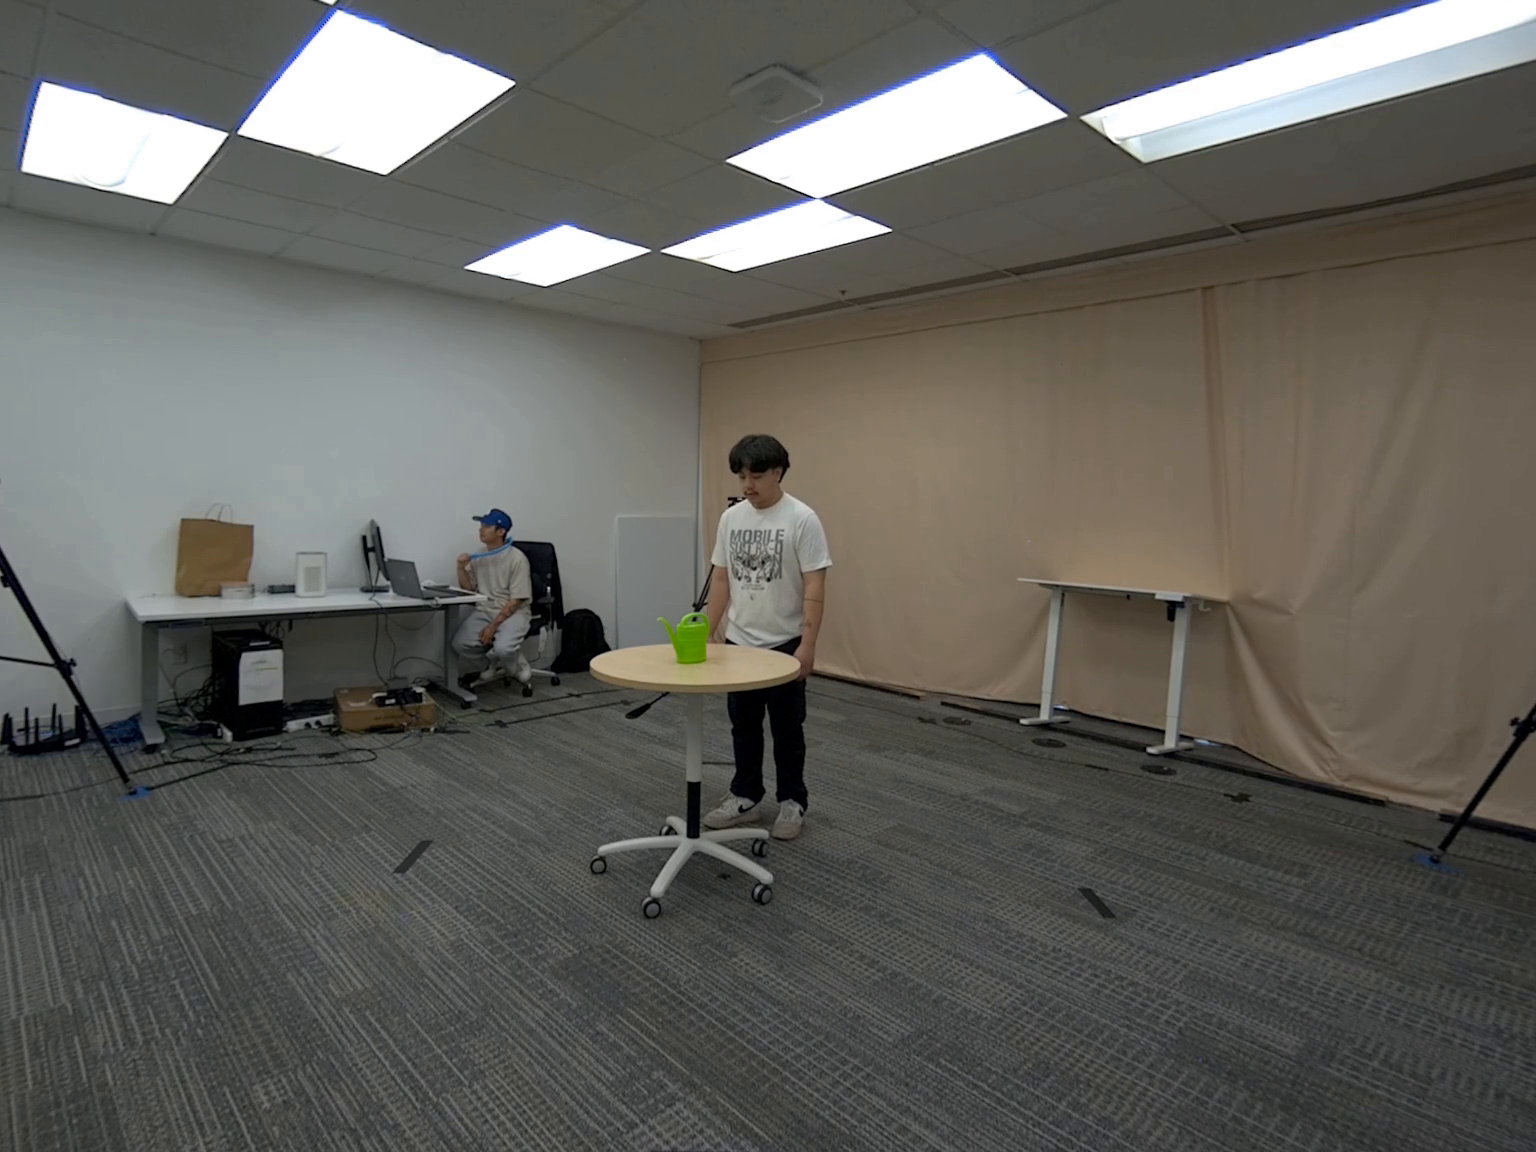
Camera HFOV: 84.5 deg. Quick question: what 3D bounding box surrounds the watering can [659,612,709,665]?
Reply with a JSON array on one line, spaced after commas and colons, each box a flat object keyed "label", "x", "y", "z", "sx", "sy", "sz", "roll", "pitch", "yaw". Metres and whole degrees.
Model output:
[{"label": "watering can", "x": -0.324, "y": 0.231, "z": 3.054, "sx": 0.100, "sy": 0.176, "sz": 0.272, "roll": 3, "pitch": 3, "yaw": 45}]
